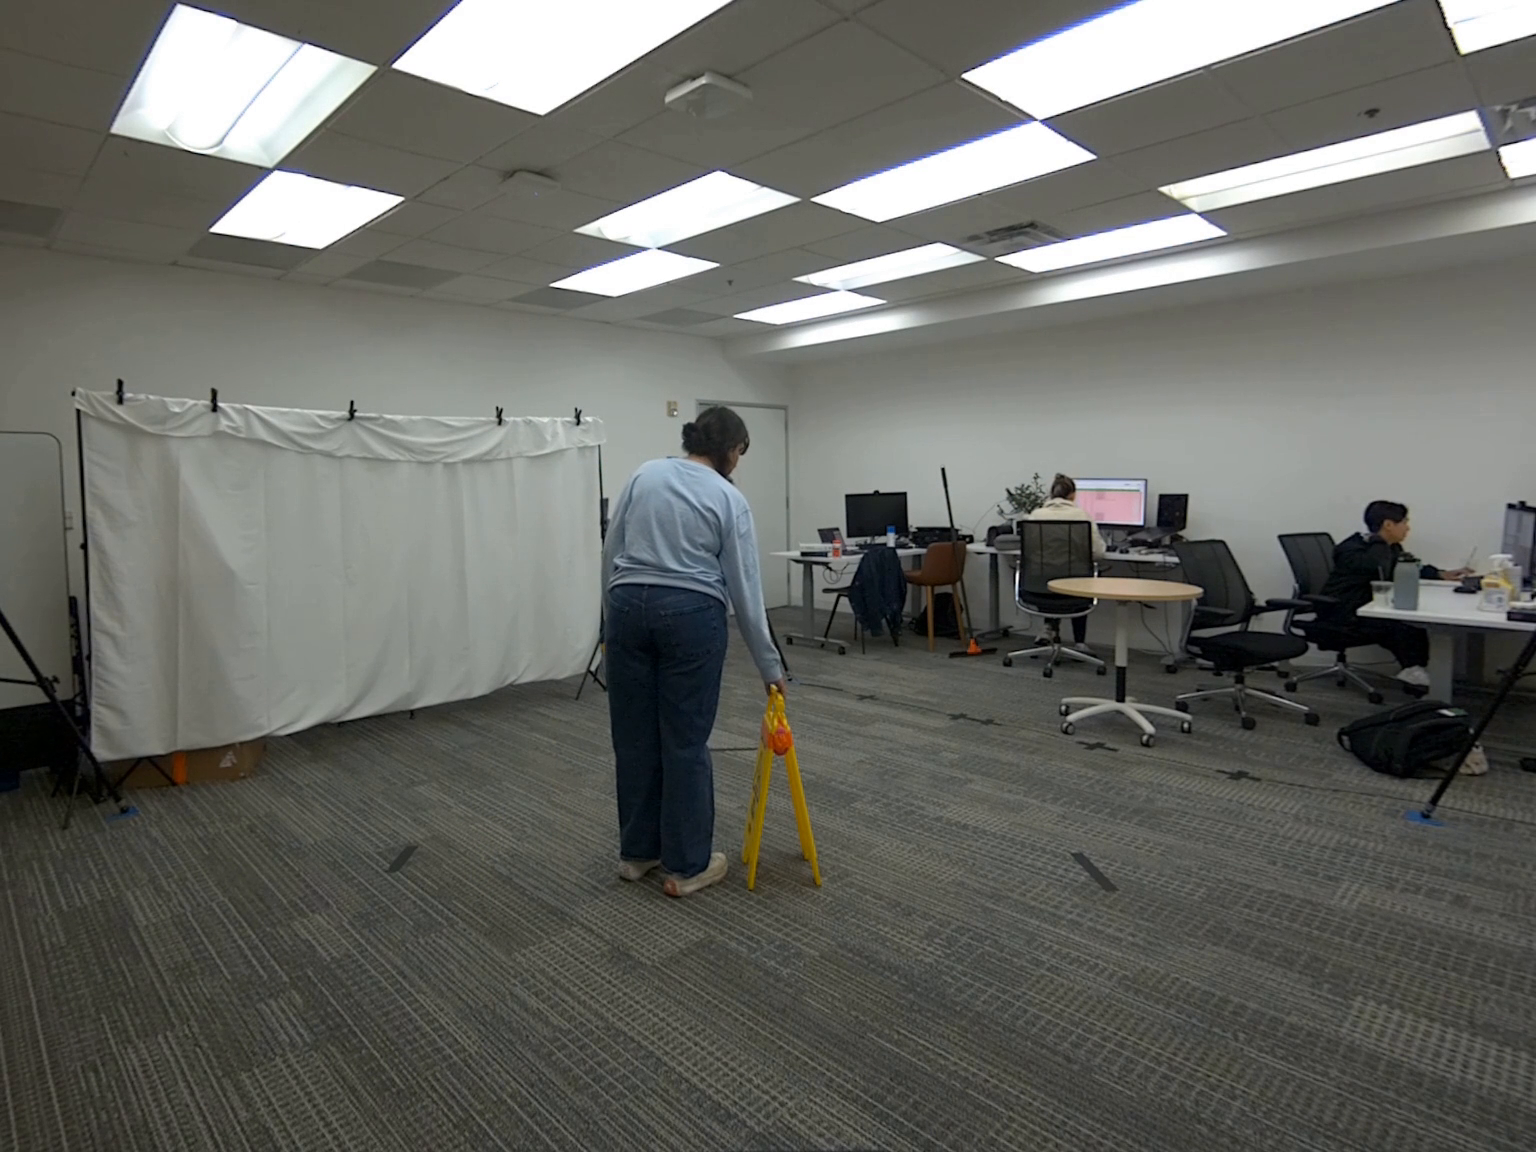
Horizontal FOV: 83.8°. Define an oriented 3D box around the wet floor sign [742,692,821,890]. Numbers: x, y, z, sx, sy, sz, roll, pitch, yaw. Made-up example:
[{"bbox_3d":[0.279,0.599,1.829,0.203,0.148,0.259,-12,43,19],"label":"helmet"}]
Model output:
[{"bbox_3d":[0.038,0.731,3.020,0.288,0.643,0.285,0,5,-5],"label":"wet floor sign"}]
